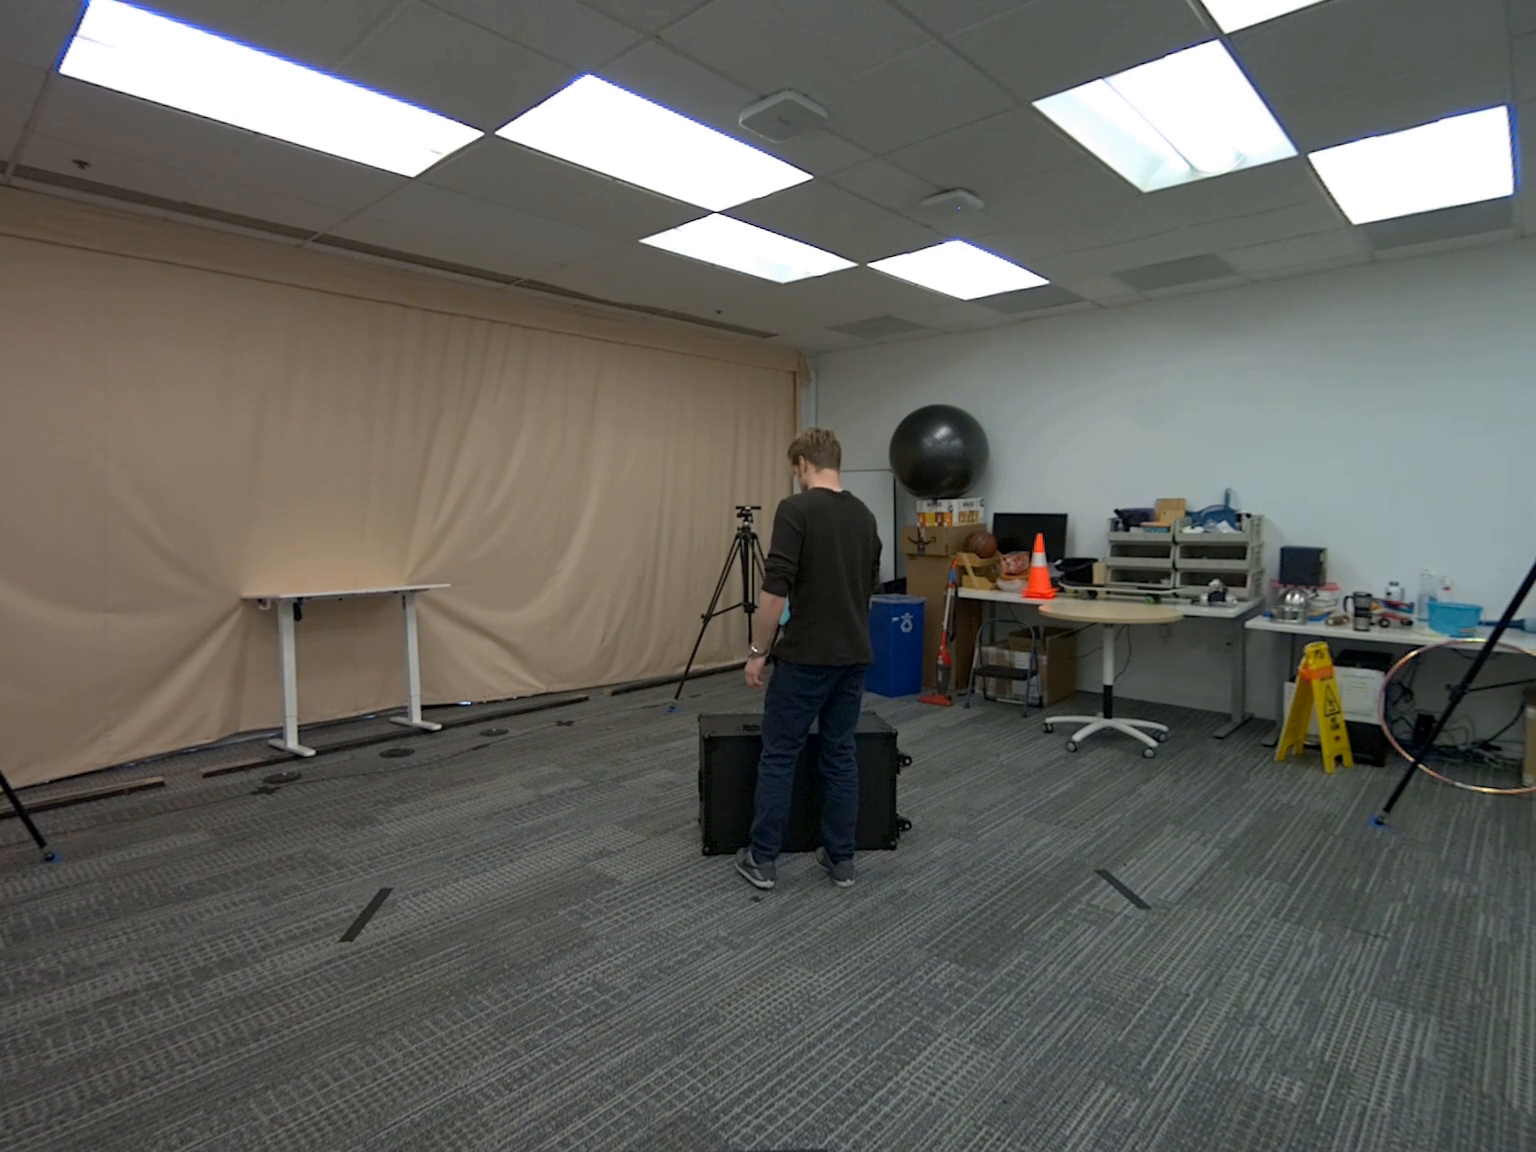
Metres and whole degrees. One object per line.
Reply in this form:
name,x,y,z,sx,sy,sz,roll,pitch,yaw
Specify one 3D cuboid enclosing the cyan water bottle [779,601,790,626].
cyan water bottle,0.106,0.064,3.561,0.092,0.285,0.092,2,-8,-2
